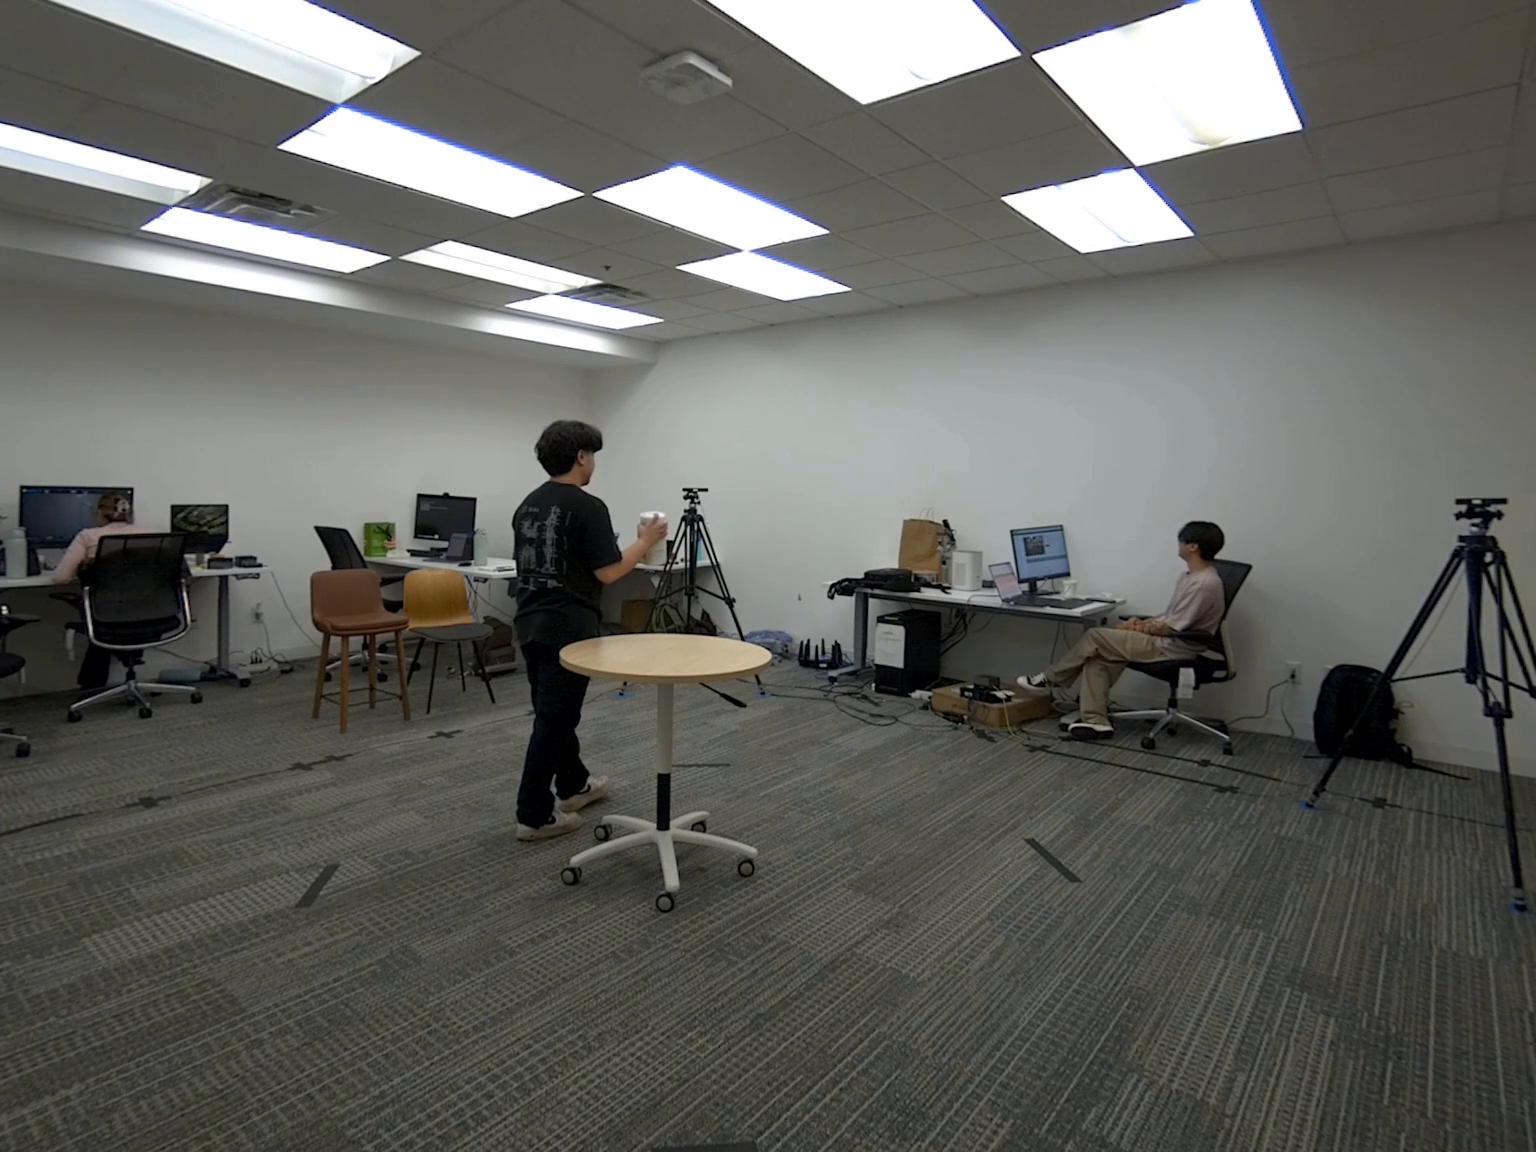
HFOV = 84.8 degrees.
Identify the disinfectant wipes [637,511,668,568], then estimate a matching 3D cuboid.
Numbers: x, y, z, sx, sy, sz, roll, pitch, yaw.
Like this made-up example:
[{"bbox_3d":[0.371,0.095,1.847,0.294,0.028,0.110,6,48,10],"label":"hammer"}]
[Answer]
[{"bbox_3d":[-0.499,-0.159,3.611,0.117,0.214,0.119,0,15,-2],"label":"disinfectant wipes"}]
